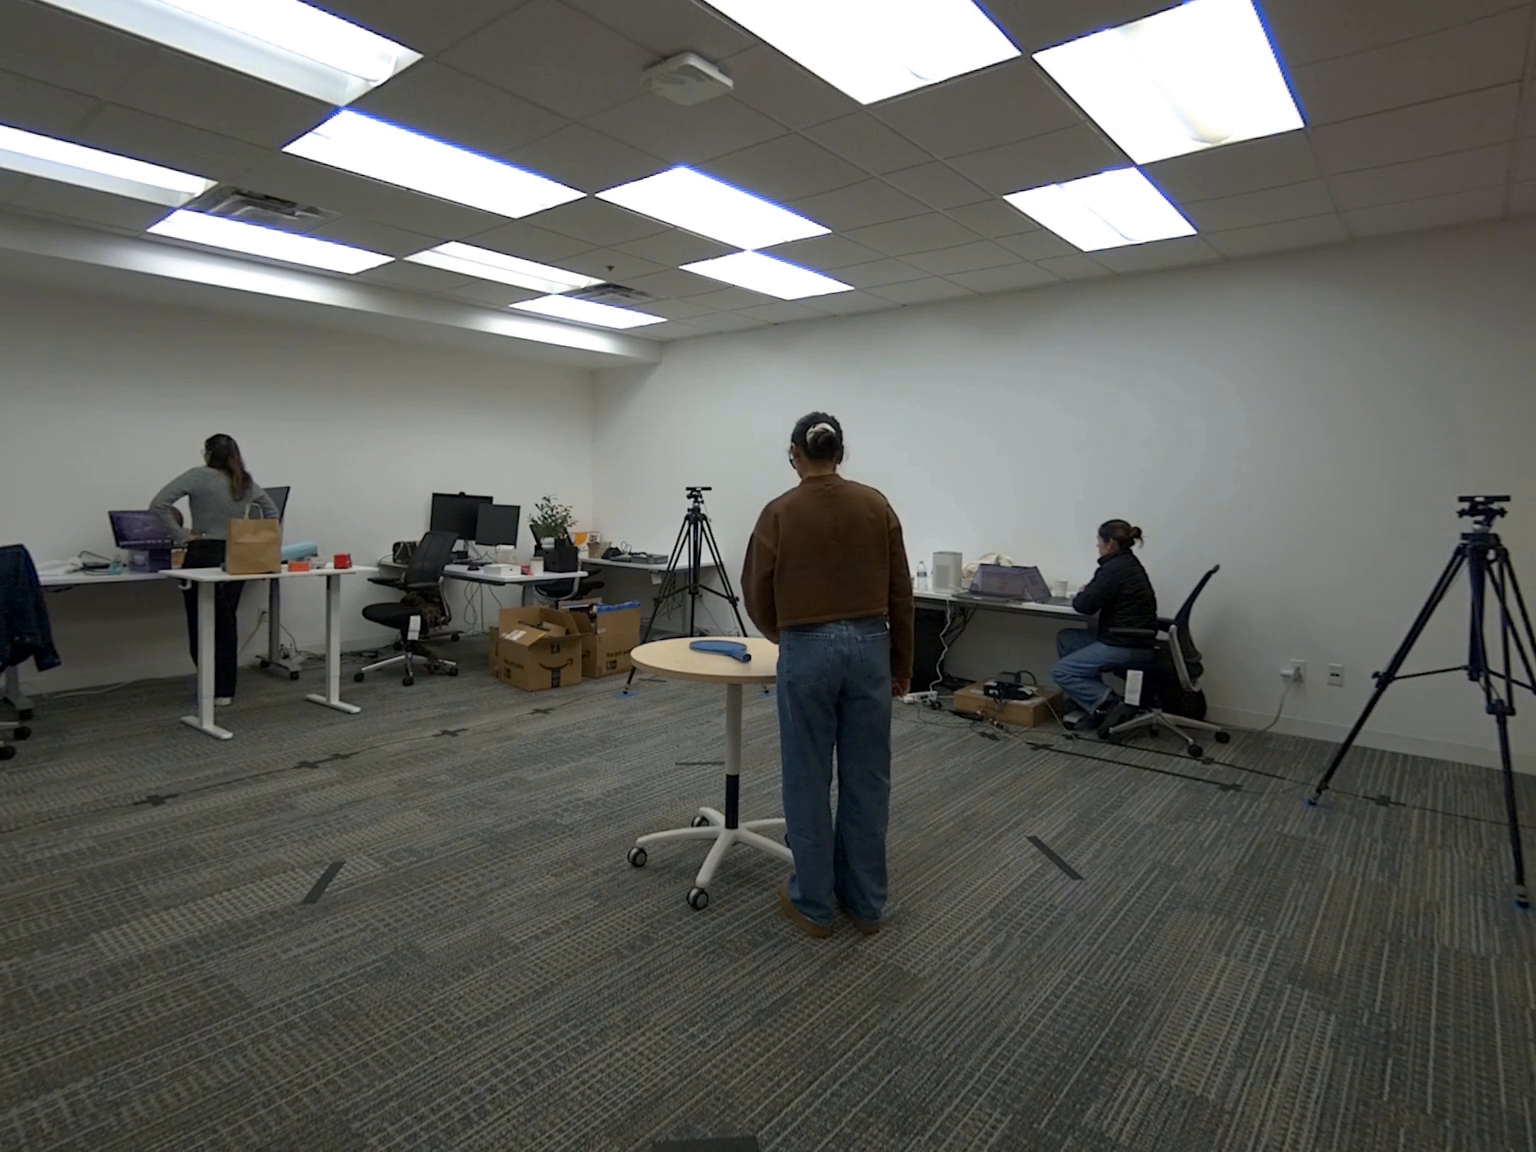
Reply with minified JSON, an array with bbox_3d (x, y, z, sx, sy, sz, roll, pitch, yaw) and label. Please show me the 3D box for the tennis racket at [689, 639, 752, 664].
[{"bbox_3d":[-0.172,0.271,3.150,0.210,0.032,0.442,0,4,-18],"label":"tennis racket"}]
